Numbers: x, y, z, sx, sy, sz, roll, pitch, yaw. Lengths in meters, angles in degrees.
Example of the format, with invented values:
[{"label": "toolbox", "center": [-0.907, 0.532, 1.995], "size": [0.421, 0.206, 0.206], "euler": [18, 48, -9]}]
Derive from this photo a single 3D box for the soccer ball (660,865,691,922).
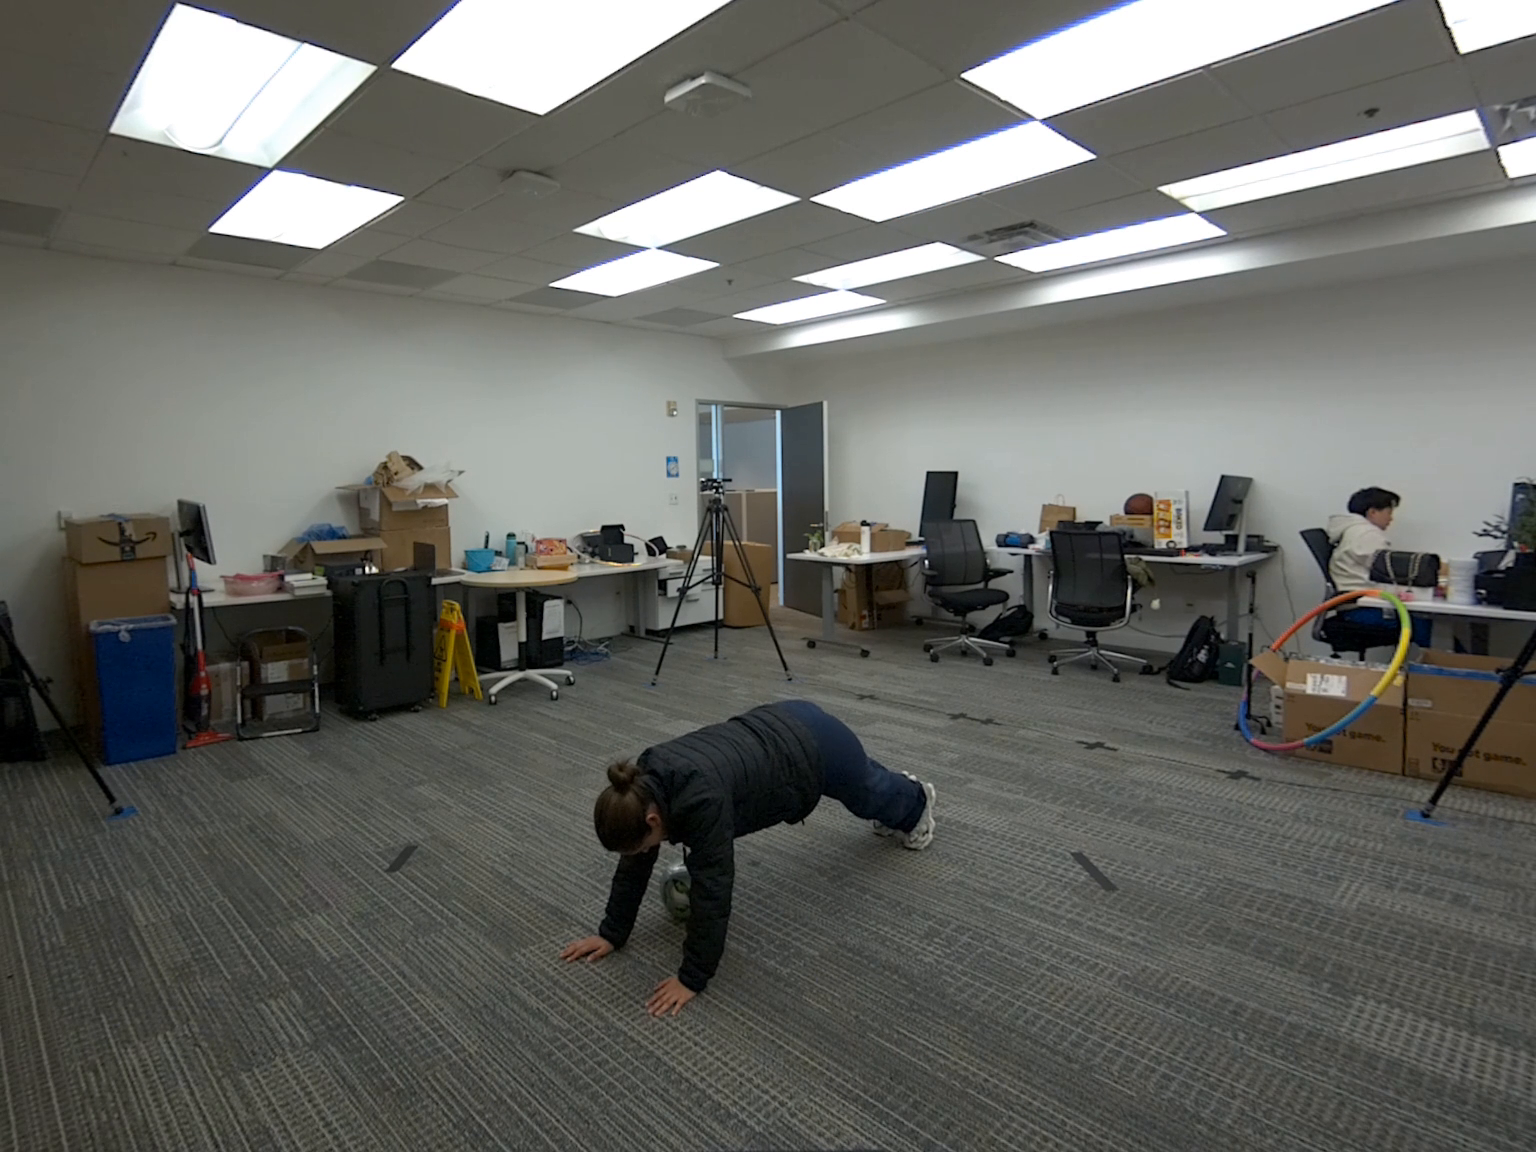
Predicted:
[{"label": "soccer ball", "center": [-0.245, 0.999, 2.734], "size": [0.187, 0.187, 0.188], "euler": [-1, 5, -2]}]
